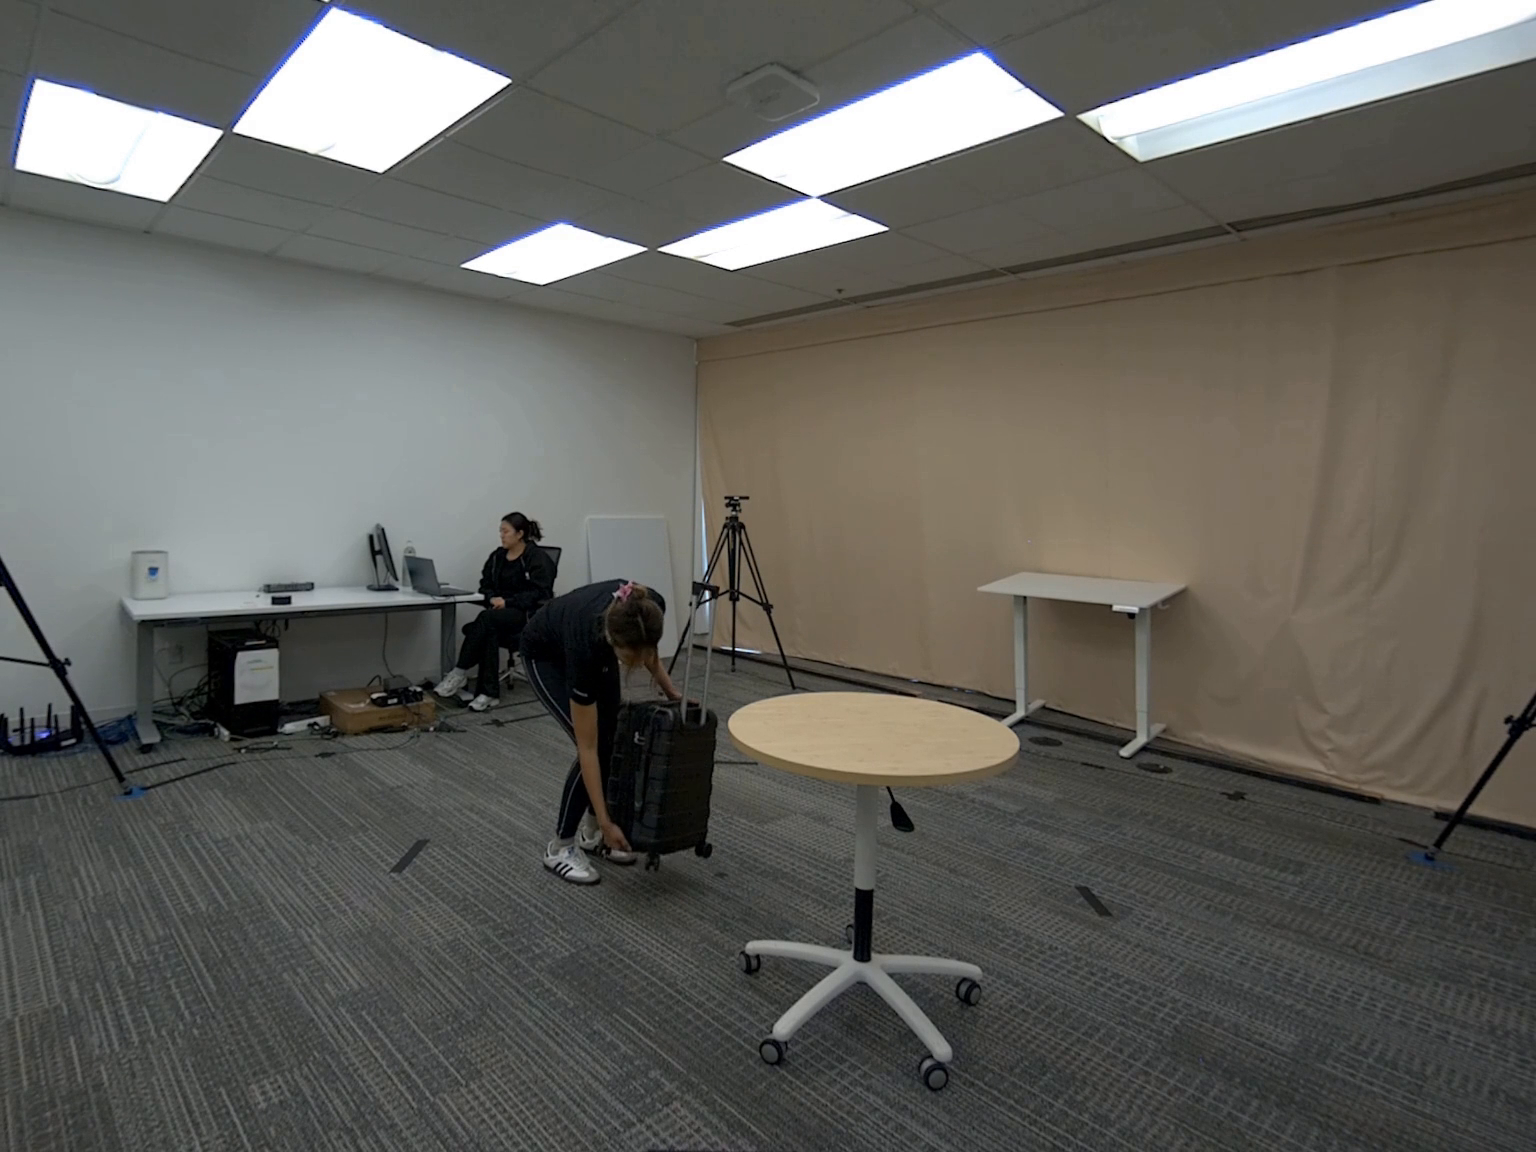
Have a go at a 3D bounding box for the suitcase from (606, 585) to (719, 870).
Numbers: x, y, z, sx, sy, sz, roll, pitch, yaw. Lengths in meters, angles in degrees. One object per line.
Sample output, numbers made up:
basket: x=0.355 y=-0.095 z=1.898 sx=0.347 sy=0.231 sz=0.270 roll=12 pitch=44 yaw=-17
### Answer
suitcase: x=-0.372 y=0.517 z=3.025 sx=0.262 sy=0.983 sz=0.374 roll=1 pitch=-7 yaw=31
